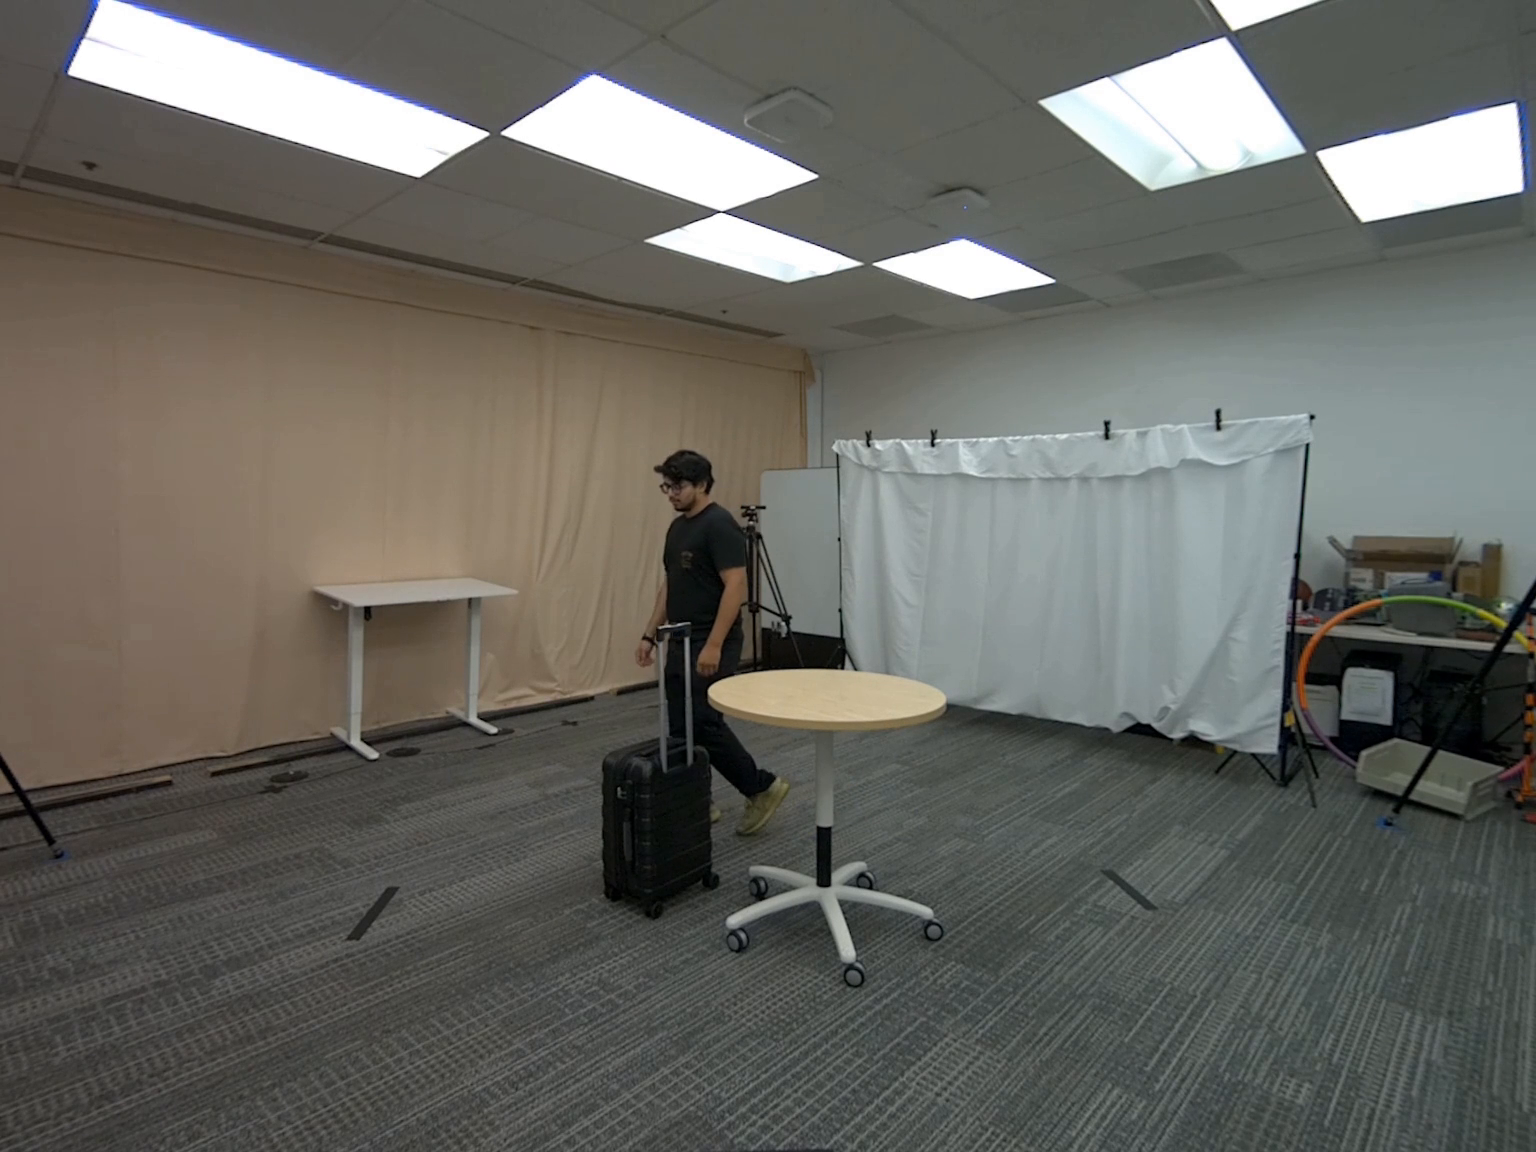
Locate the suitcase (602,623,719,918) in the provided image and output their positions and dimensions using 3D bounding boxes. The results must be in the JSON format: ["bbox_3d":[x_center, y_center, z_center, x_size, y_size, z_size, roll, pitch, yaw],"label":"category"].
[{"bbox_3d":[-0.399,0.658,3.000,0.265,0.976,0.373,0,4,38],"label":"suitcase"}]
